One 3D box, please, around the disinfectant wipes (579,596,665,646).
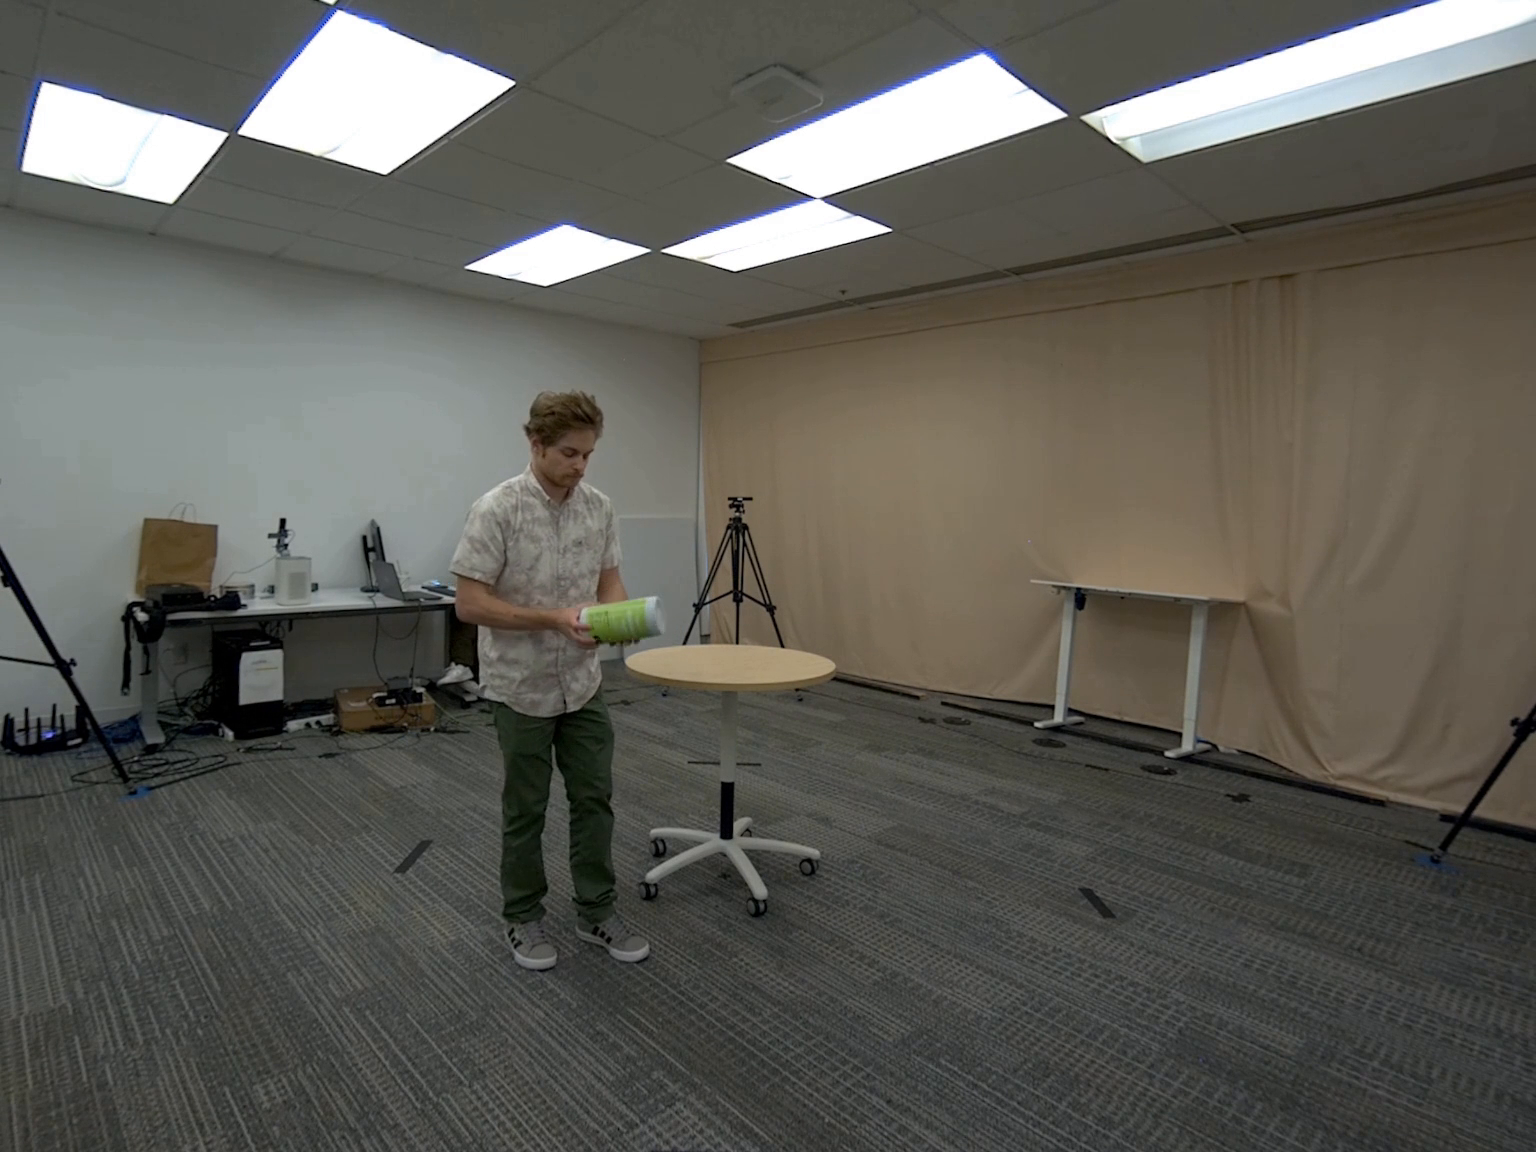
[{"bbox_3d":[-0.406,0.130,2.299,0.219,0.117,0.117,-8,2,11],"label":"disinfectant wipes"}]
